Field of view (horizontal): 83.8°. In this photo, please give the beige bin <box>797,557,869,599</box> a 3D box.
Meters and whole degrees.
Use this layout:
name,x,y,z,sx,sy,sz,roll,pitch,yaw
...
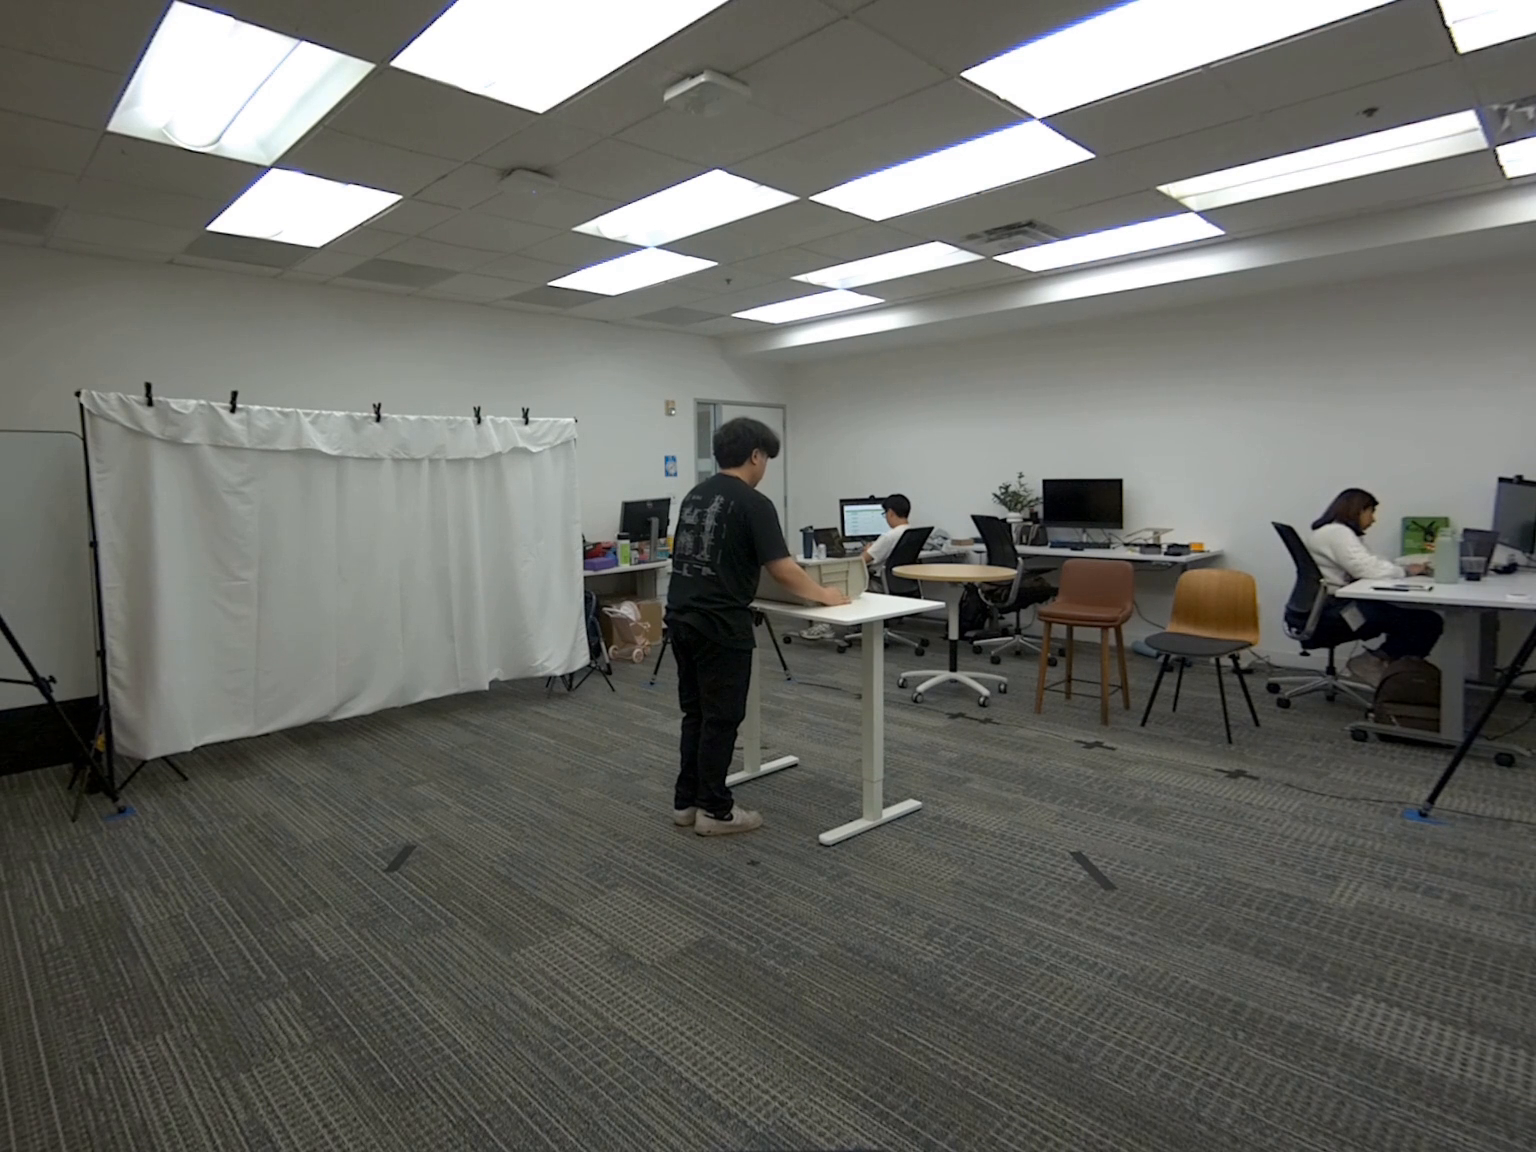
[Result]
name,x,y,z,sx,sy,sz,roll,pitch,yaw
beige bin,0.160,0.001,3.675,0.368,0.188,0.435,-9,10,-42
